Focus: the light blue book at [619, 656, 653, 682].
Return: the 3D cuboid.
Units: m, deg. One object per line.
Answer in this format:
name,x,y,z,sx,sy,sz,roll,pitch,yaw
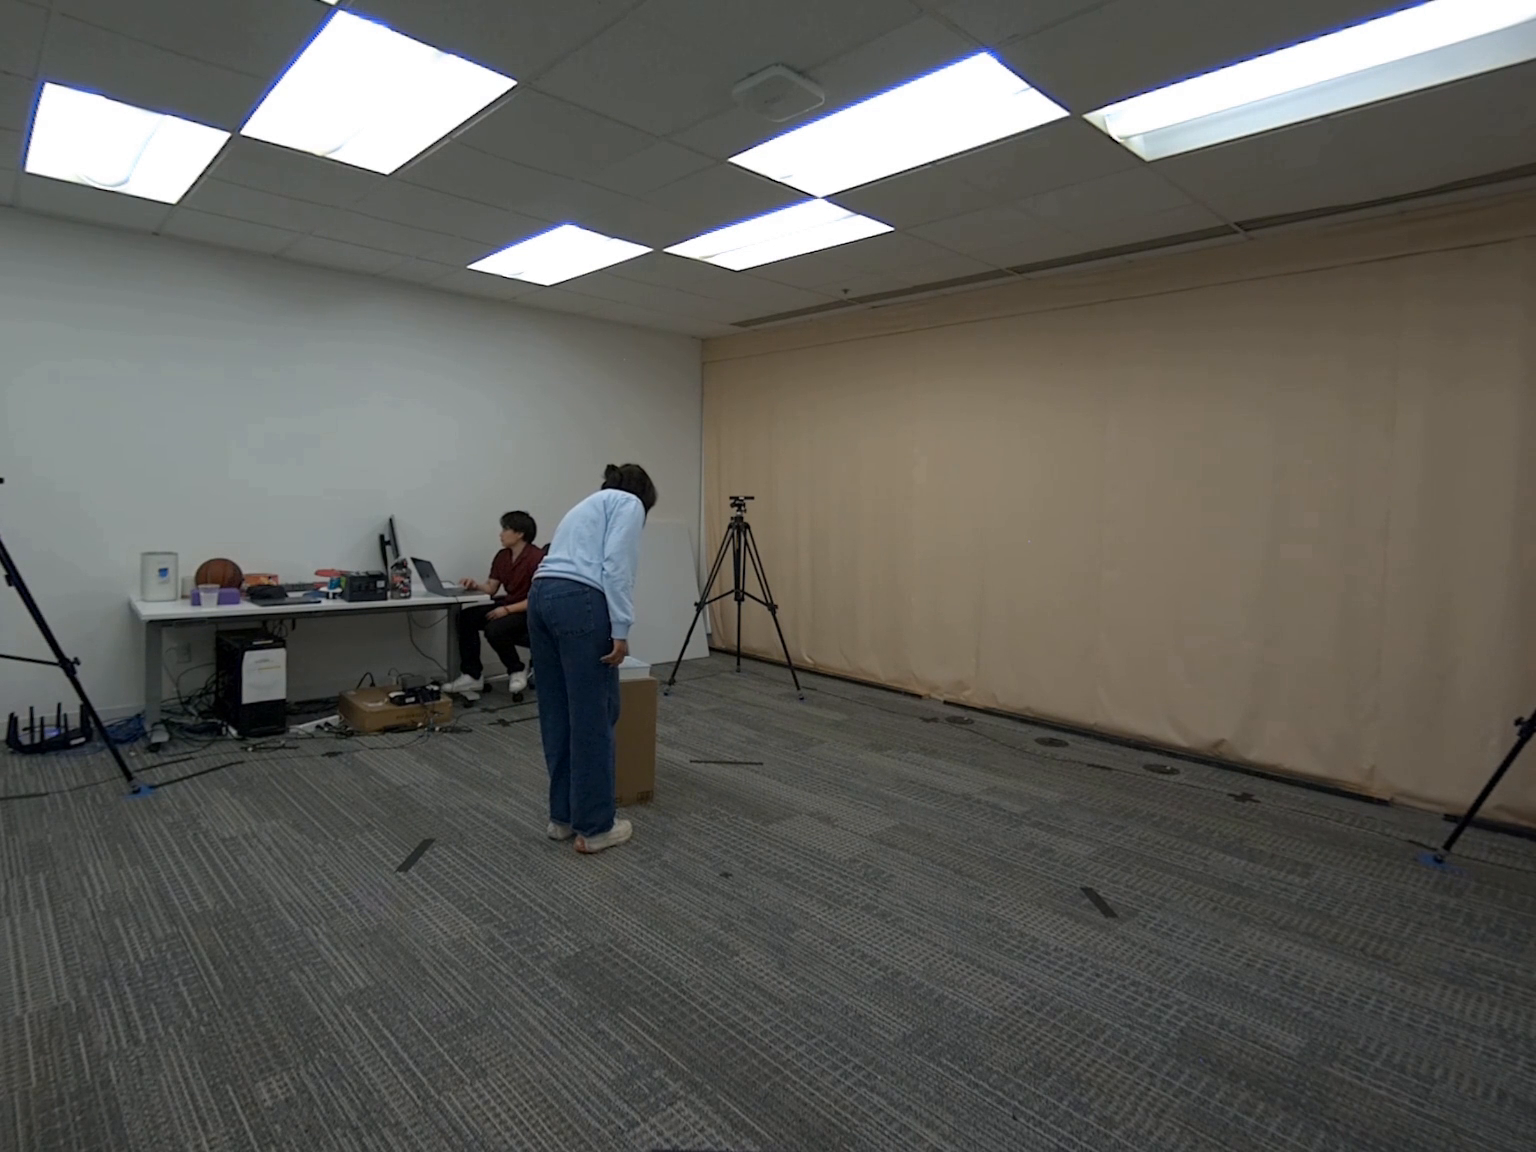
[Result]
light blue book,-0.680,0.426,3.912,0.187,0.059,0.267,1,4,-31
